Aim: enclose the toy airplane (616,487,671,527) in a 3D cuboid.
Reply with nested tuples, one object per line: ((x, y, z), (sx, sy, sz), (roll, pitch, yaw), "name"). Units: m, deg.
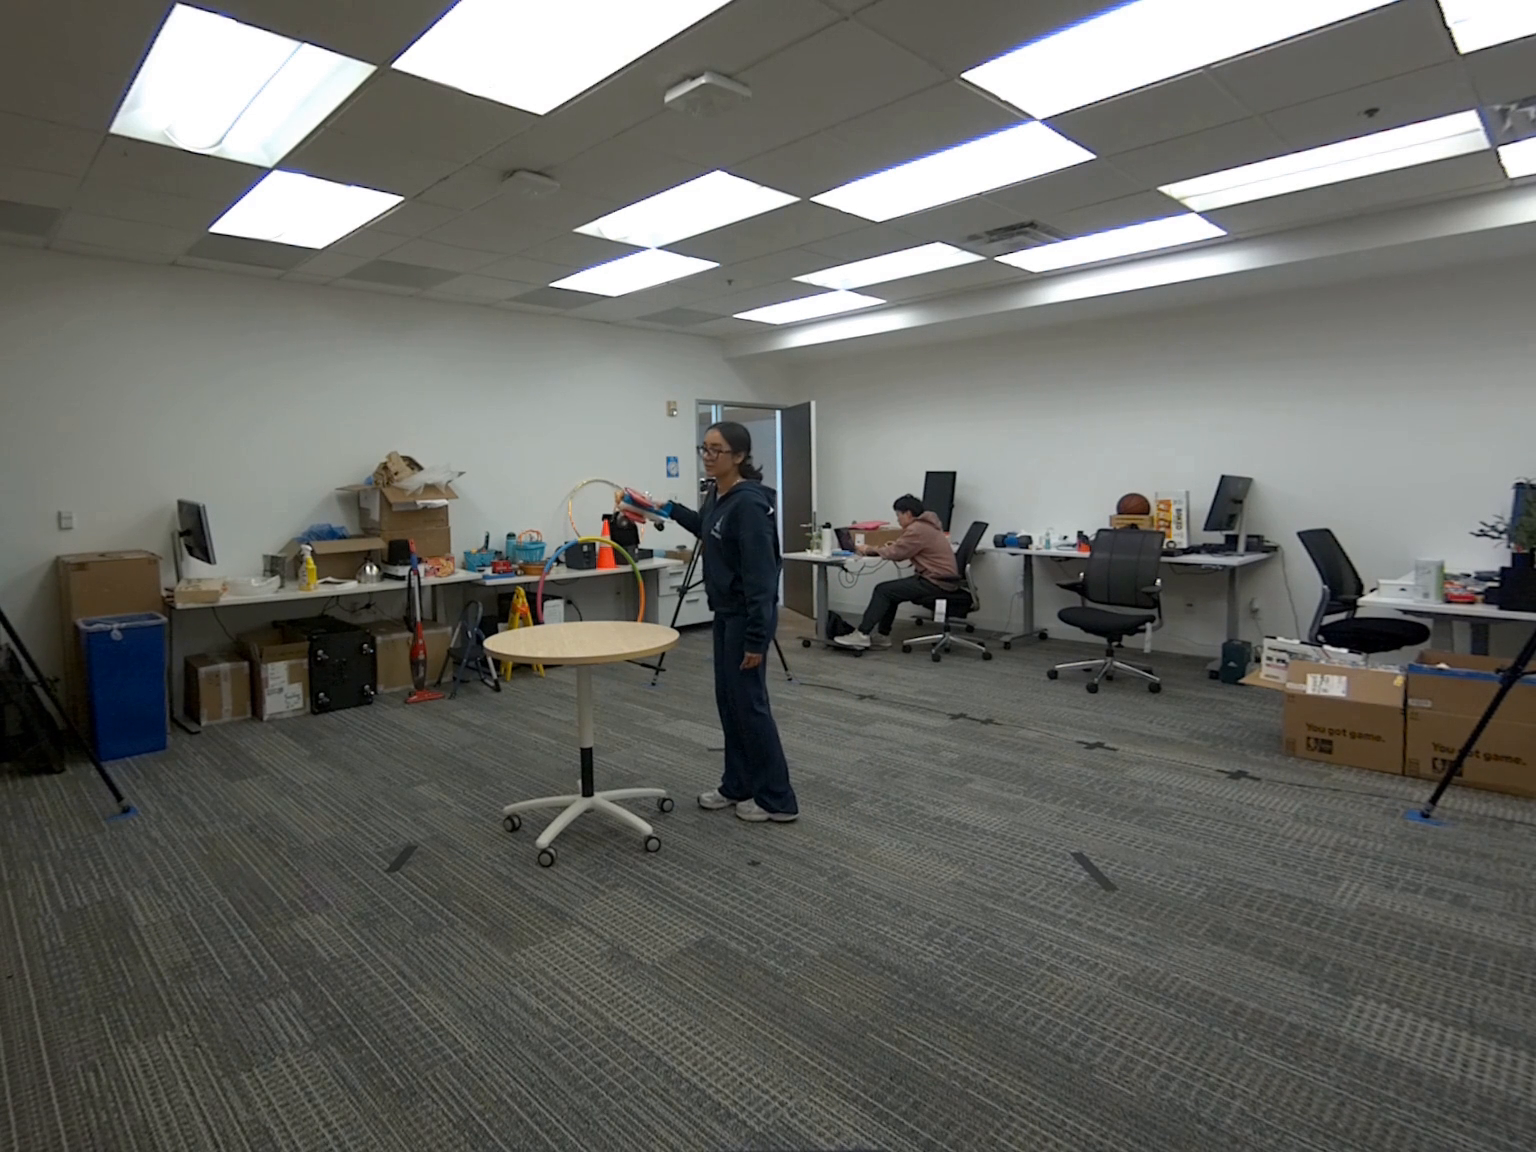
((-0.545, -0.289, 3.700), (0.260, 0.155, 0.252), (23, 17, 34), "toy airplane")
